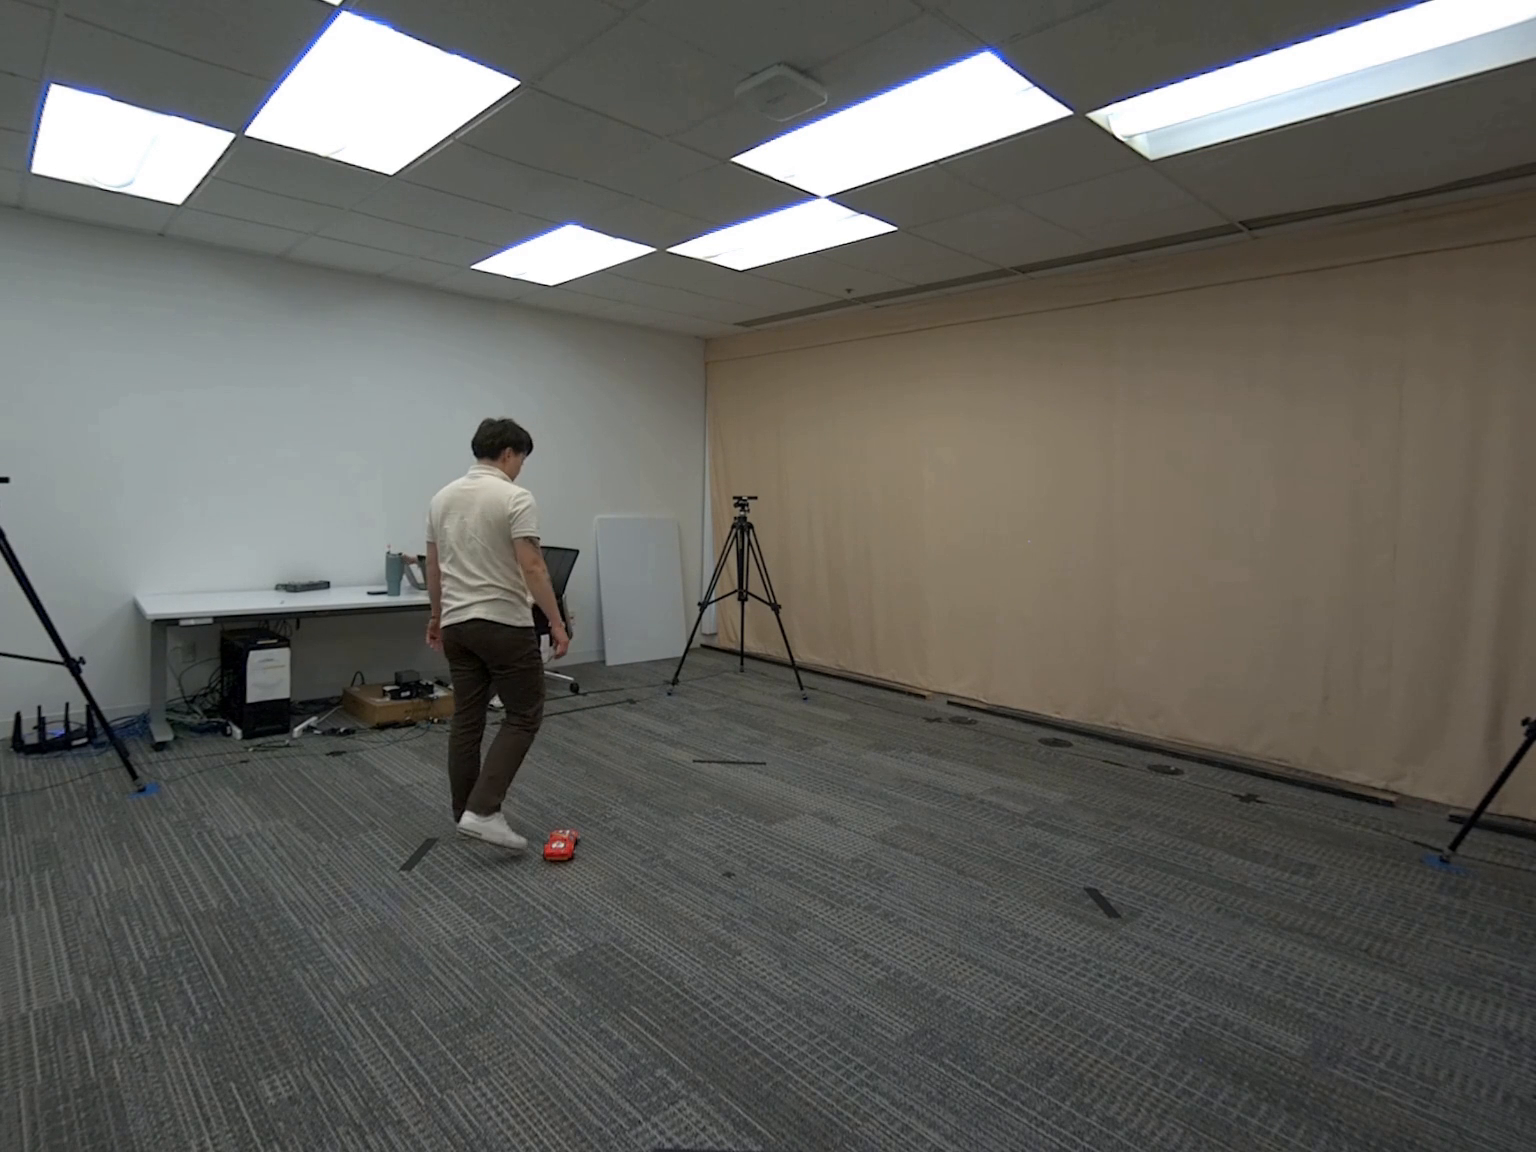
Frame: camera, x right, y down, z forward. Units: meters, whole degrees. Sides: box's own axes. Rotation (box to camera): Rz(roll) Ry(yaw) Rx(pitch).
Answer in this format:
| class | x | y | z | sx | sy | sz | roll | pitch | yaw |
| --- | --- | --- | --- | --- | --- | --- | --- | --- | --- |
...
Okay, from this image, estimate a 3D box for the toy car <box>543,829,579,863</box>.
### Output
| class | x | y | z | sx | sy | sz | roll | pitch | yaw |
| --- | --- | --- | --- | --- | --- | --- | --- | --- | --- |
| toy car | -0.812 | 1.045 | 3.250 | 0.130 | 0.083 | 0.254 | 2 | -6 | -5 |
